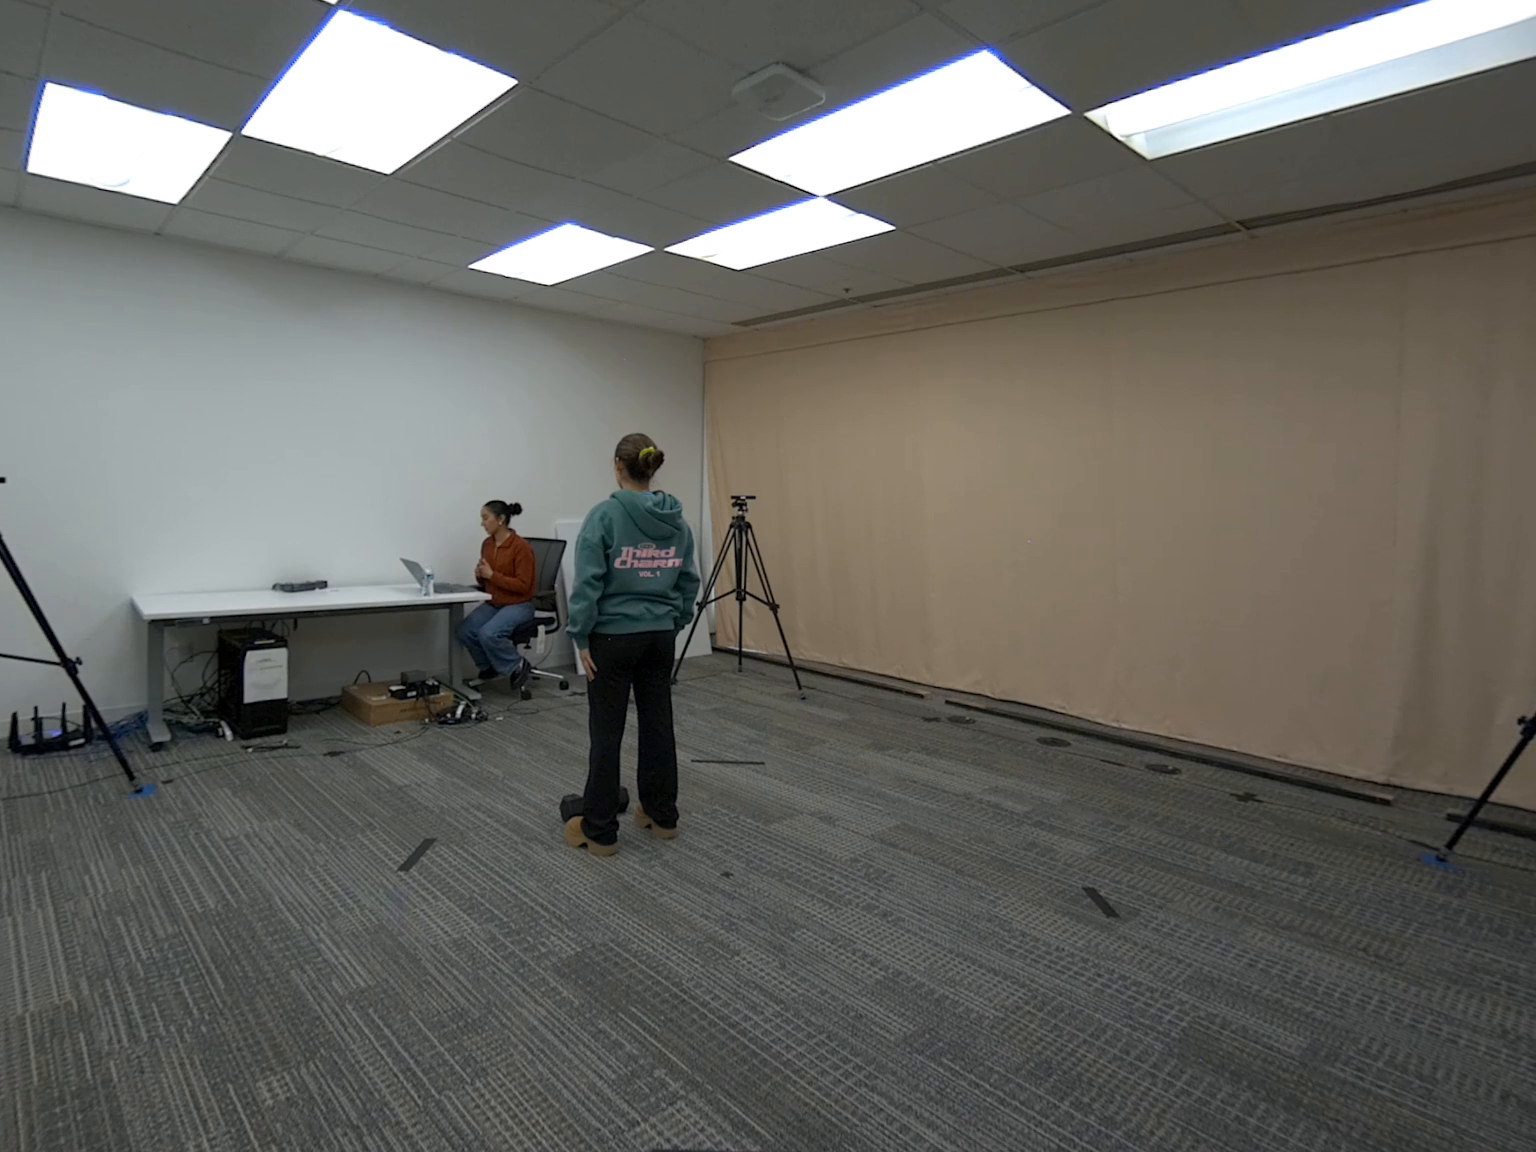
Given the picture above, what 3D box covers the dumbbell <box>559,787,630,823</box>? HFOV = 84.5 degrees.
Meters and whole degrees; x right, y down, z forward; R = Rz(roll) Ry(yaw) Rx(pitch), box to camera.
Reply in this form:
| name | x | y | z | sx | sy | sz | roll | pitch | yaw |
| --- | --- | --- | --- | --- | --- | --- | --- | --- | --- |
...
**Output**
| name | x | y | z | sx | sy | sz | roll | pitch | yaw |
| --- | --- | --- | --- | --- | --- | --- | --- | --- | --- |
| dumbbell | -0.754 | 0.988 | 3.642 | 0.287 | 0.125 | 0.109 | -3 | -25 | -39 |
